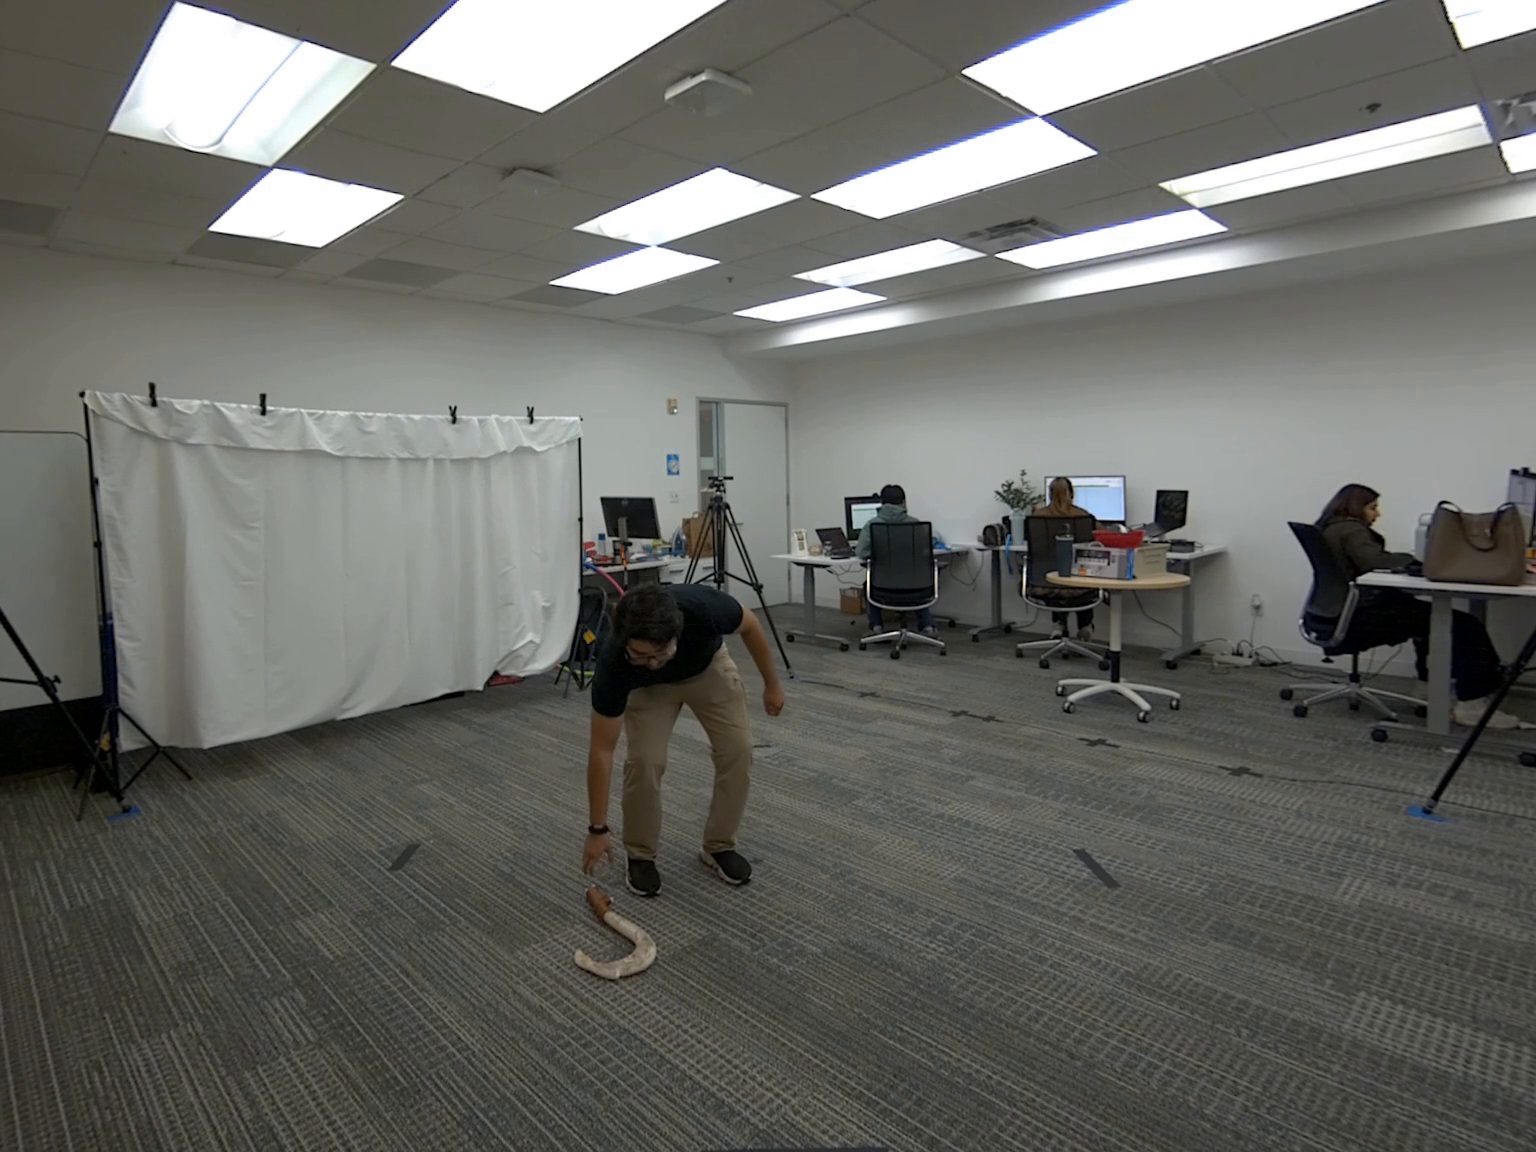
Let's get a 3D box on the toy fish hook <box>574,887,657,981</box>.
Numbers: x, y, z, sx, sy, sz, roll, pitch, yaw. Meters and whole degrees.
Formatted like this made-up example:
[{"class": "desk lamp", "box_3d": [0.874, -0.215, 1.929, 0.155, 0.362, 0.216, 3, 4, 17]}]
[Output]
[{"class": "toy fish hook", "box_3d": [-0.509, 1.085, 2.618, 0.219, 0.048, 0.520, -4, 7, -29]}]
